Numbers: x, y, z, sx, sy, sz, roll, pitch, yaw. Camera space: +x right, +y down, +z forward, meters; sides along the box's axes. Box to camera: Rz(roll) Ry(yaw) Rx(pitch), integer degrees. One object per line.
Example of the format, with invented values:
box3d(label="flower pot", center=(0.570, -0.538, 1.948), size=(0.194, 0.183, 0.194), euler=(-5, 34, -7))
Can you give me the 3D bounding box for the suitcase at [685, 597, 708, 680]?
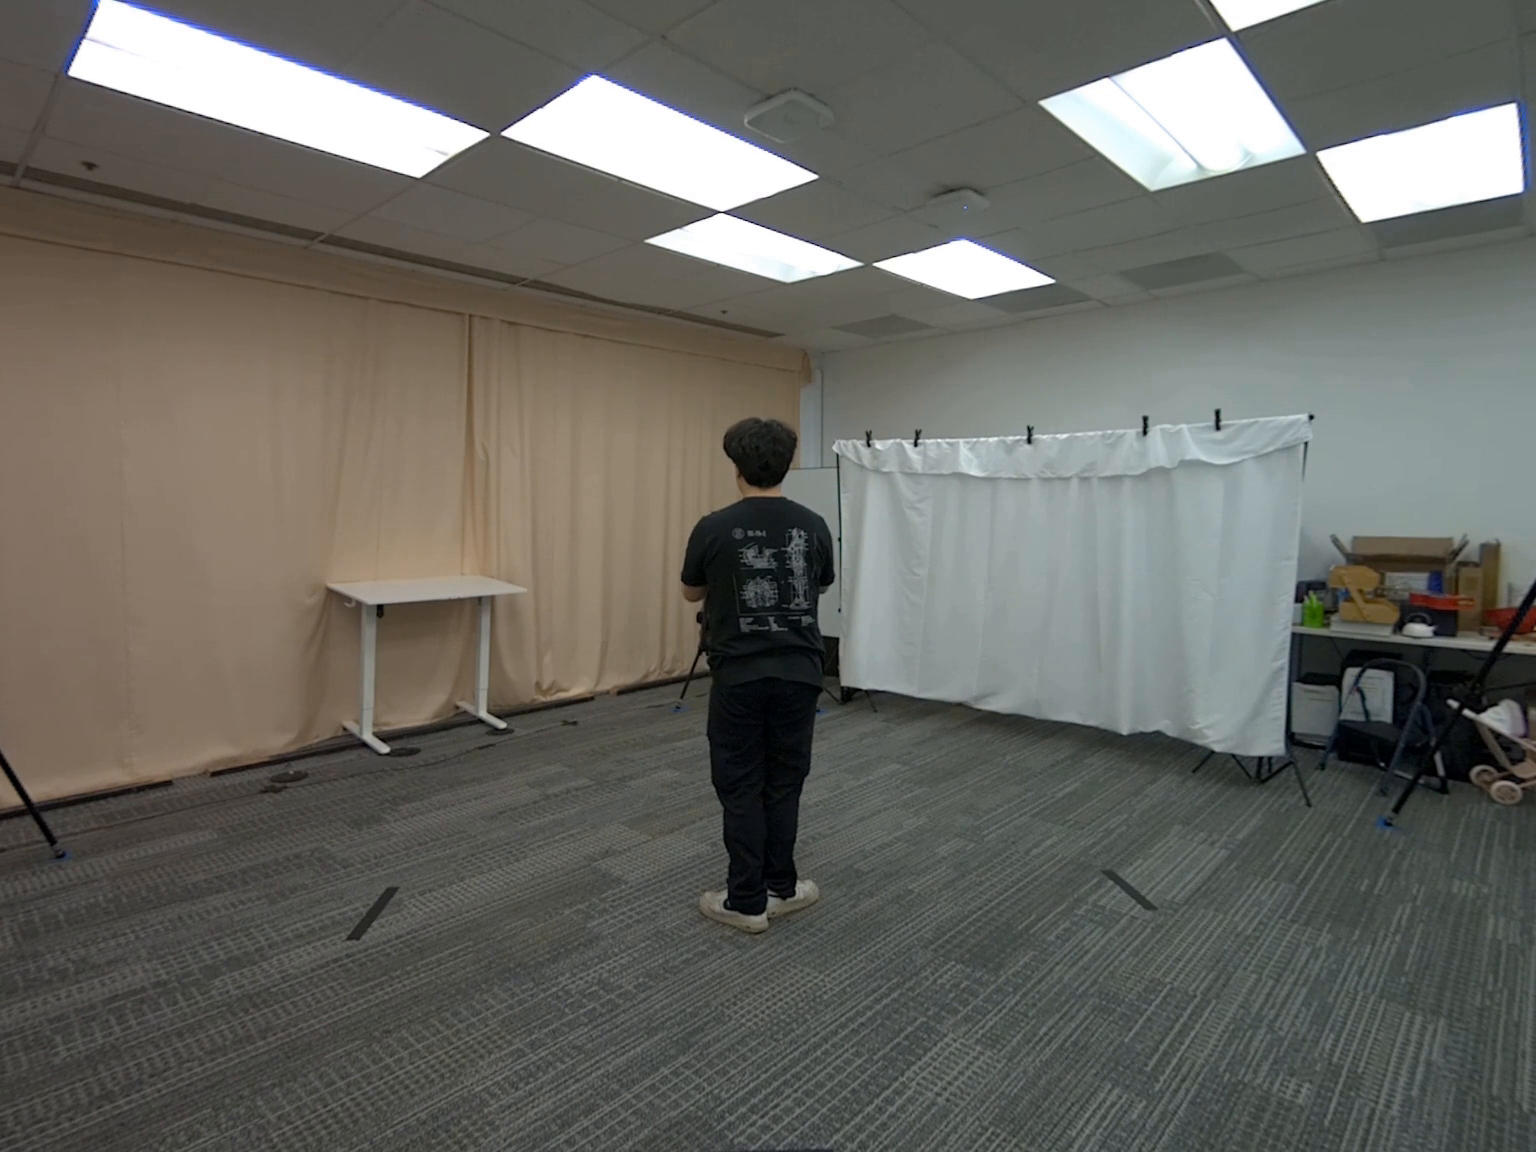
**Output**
box3d(label="suitcase", center=(-0.060, 0.062, 3.221), size=(0.369, 0.548, 0.253), euler=(2, 5, -15))
